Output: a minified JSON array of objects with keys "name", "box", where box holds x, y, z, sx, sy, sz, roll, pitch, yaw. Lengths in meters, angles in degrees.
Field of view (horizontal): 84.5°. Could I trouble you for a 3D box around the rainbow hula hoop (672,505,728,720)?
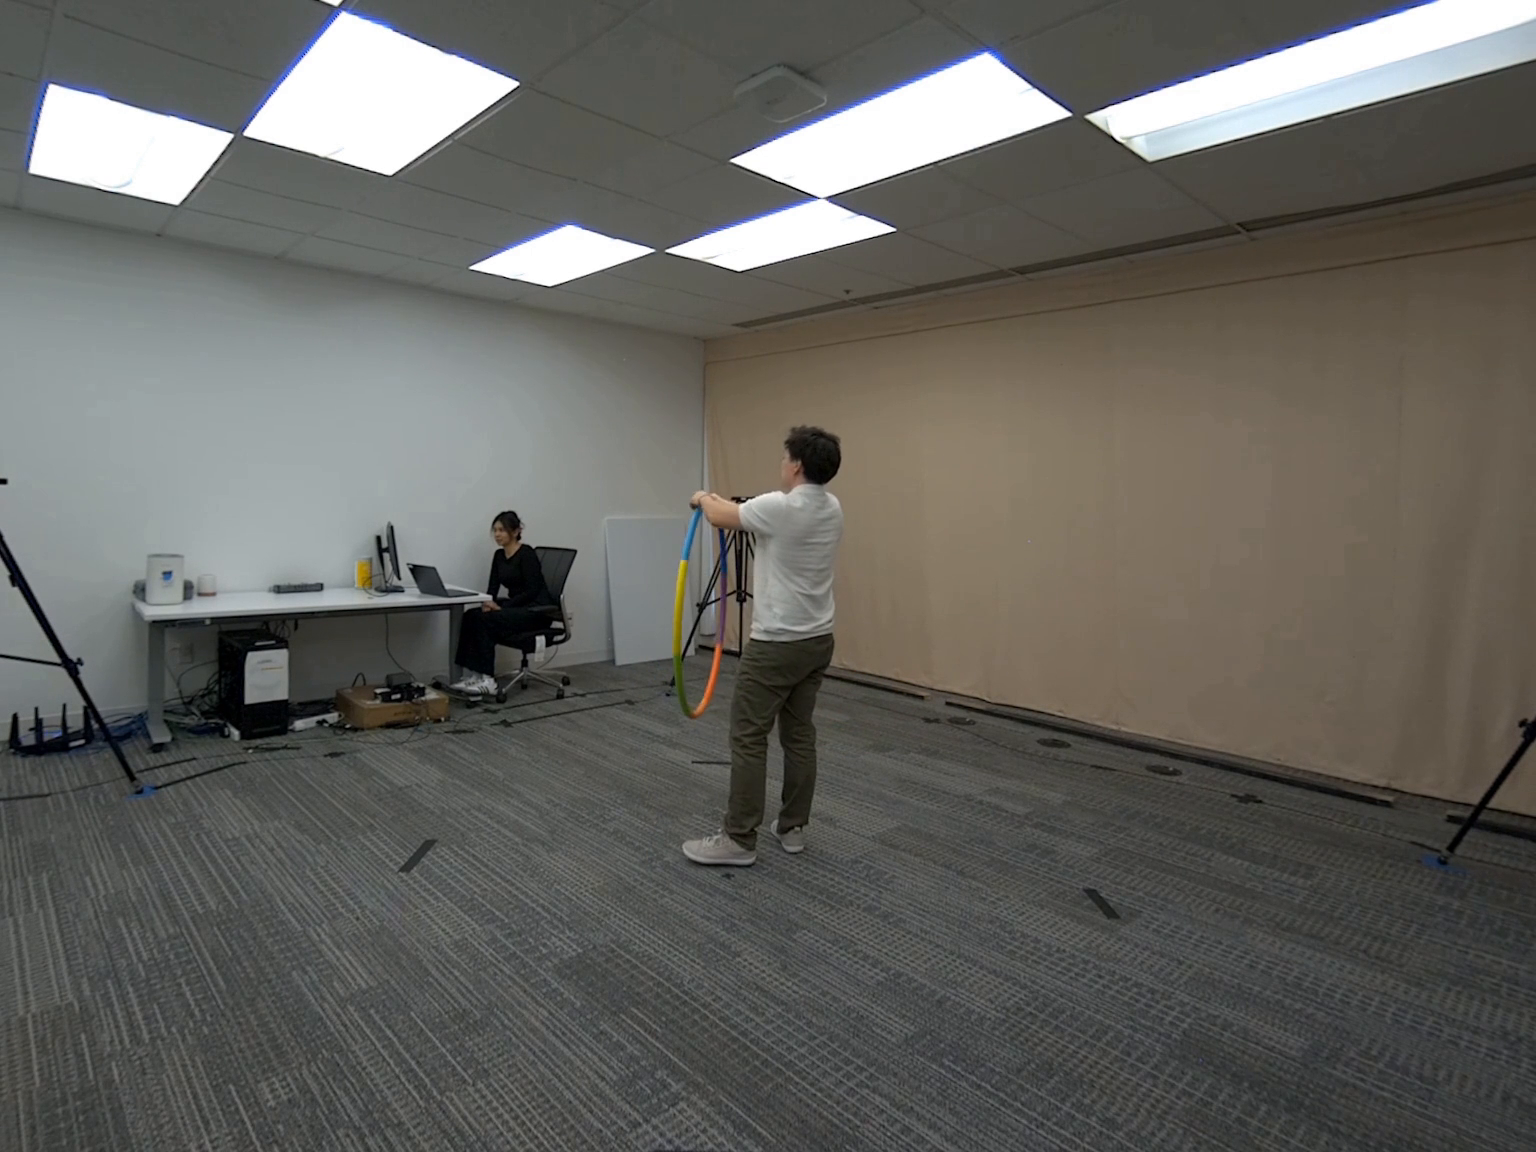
[{"name":"rainbow hula hoop","box":[-0.295,0.146,3.822,0.036,0.976,0.975,2,4,7]}]
